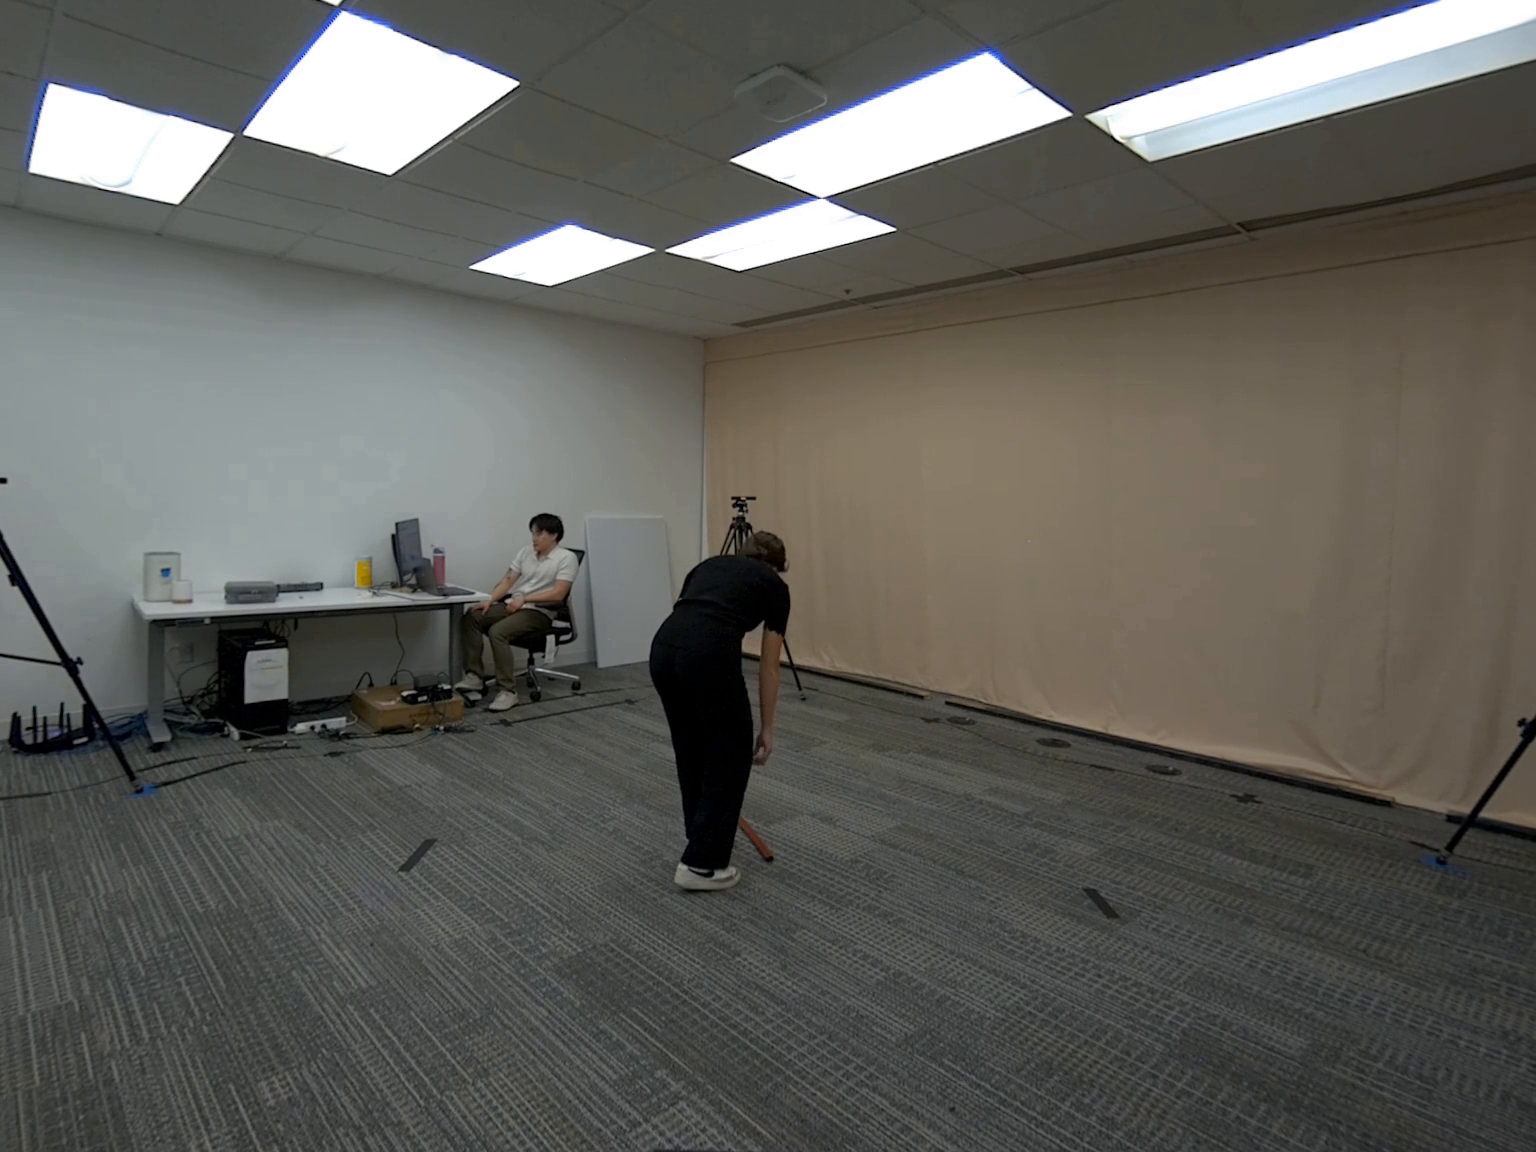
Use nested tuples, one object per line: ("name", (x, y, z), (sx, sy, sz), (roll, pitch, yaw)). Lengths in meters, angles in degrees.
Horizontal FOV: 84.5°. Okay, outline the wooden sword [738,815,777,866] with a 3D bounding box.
("wooden sword", (-0.173, 1.034, 3.718), (0.023, 0.051, 1.043), (18, -2, -21))
